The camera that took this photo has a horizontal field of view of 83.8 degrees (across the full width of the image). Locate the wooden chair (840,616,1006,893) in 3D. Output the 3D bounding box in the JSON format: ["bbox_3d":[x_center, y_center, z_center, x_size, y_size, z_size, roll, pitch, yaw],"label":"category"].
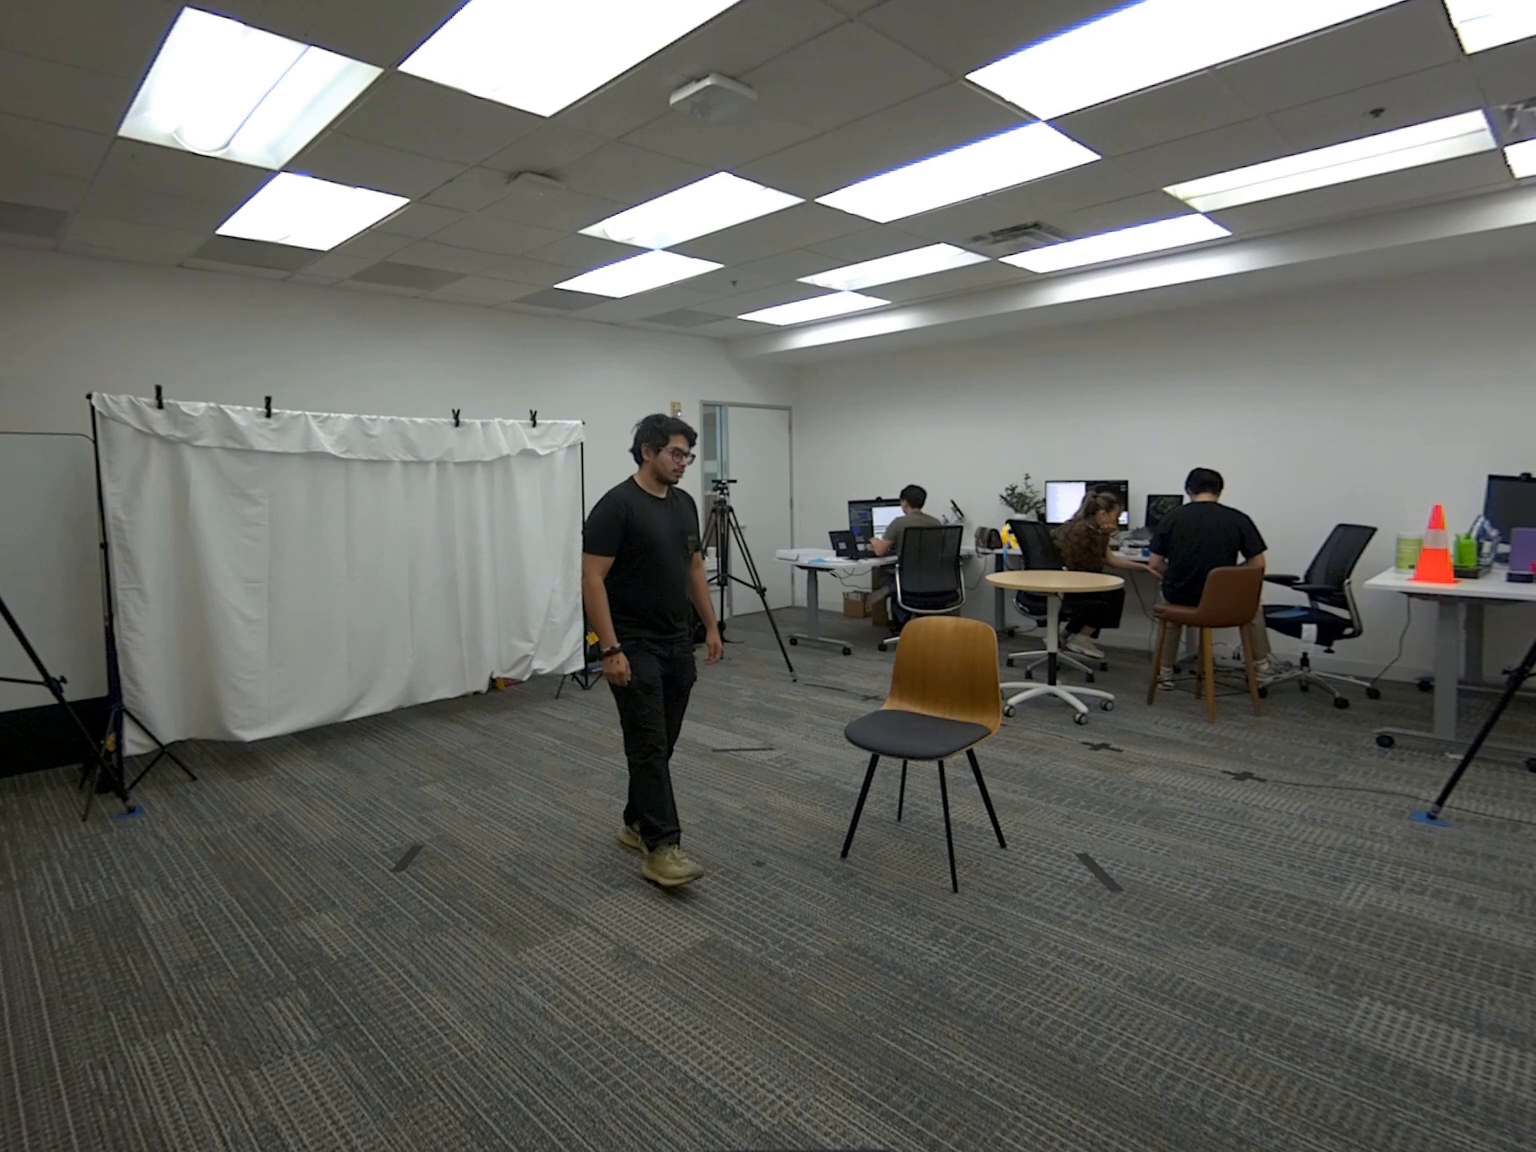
[{"bbox_3d":[0.568,0.601,3.136,0.492,0.877,0.508,3,1,38],"label":"wooden chair"}]
